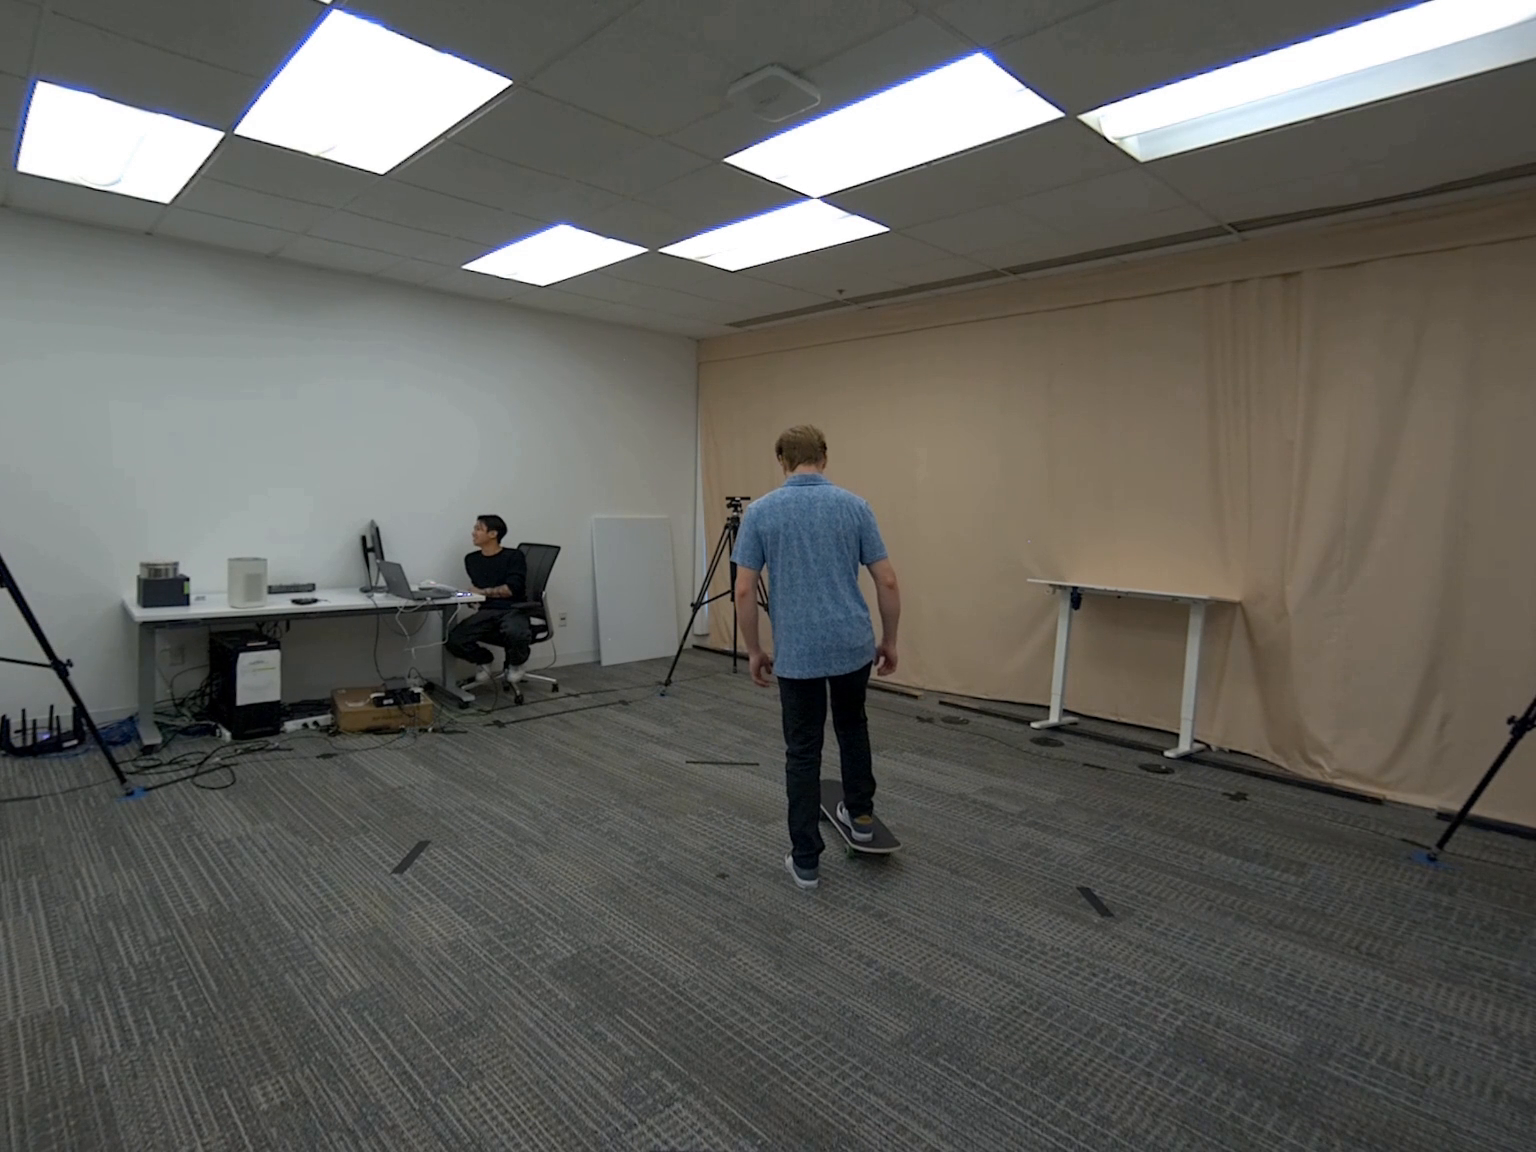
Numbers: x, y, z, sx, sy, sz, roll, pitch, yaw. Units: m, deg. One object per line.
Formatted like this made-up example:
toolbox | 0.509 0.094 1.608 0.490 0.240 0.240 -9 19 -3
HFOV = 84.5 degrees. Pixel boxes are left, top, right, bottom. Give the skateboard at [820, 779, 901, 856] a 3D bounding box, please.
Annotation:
skateboard | 0.333 1.024 3.501 0.192 0.110 0.795 0 5 -12
